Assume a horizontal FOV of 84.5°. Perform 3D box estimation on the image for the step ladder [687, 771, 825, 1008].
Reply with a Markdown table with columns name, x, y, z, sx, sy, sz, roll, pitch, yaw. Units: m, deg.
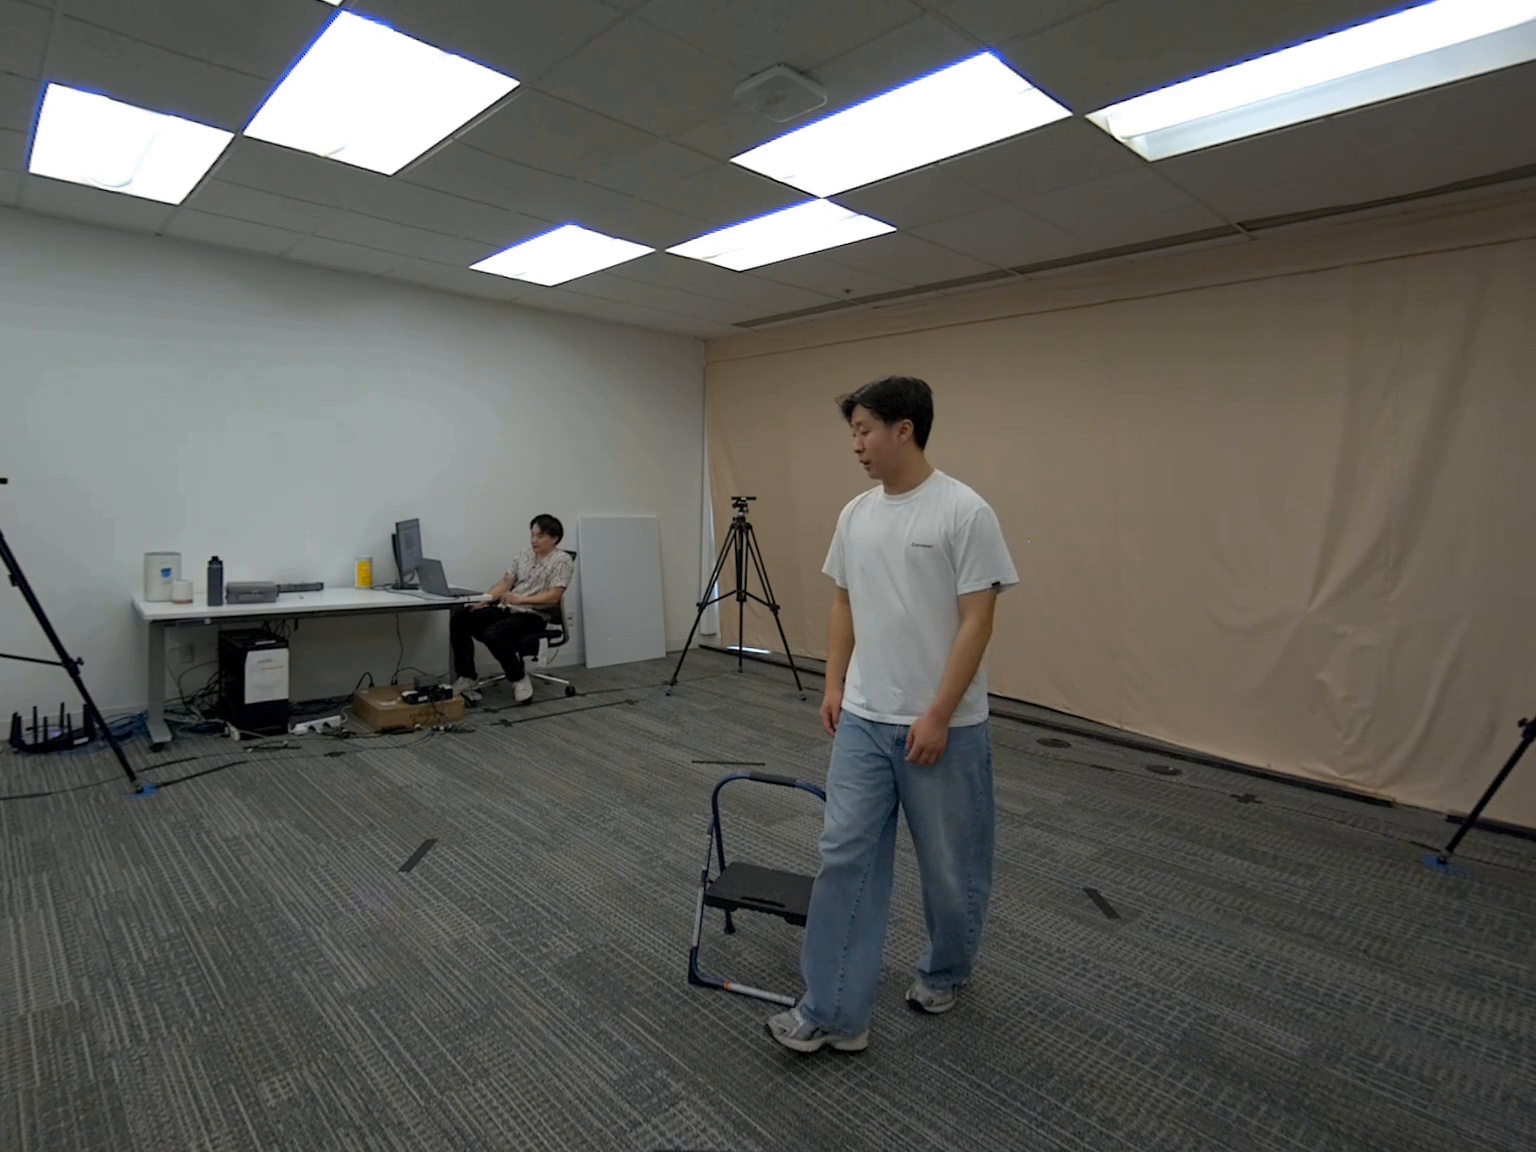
| name | x | y | z | sx | sy | sz | roll | pitch | yaw |
| --- | --- | --- | --- | --- | --- | --- | --- | --- | --- |
| step ladder | 0.020 | 0.867 | 2.477 | 0.437 | 0.604 | 0.345 | 3 | 4 | 19 |
